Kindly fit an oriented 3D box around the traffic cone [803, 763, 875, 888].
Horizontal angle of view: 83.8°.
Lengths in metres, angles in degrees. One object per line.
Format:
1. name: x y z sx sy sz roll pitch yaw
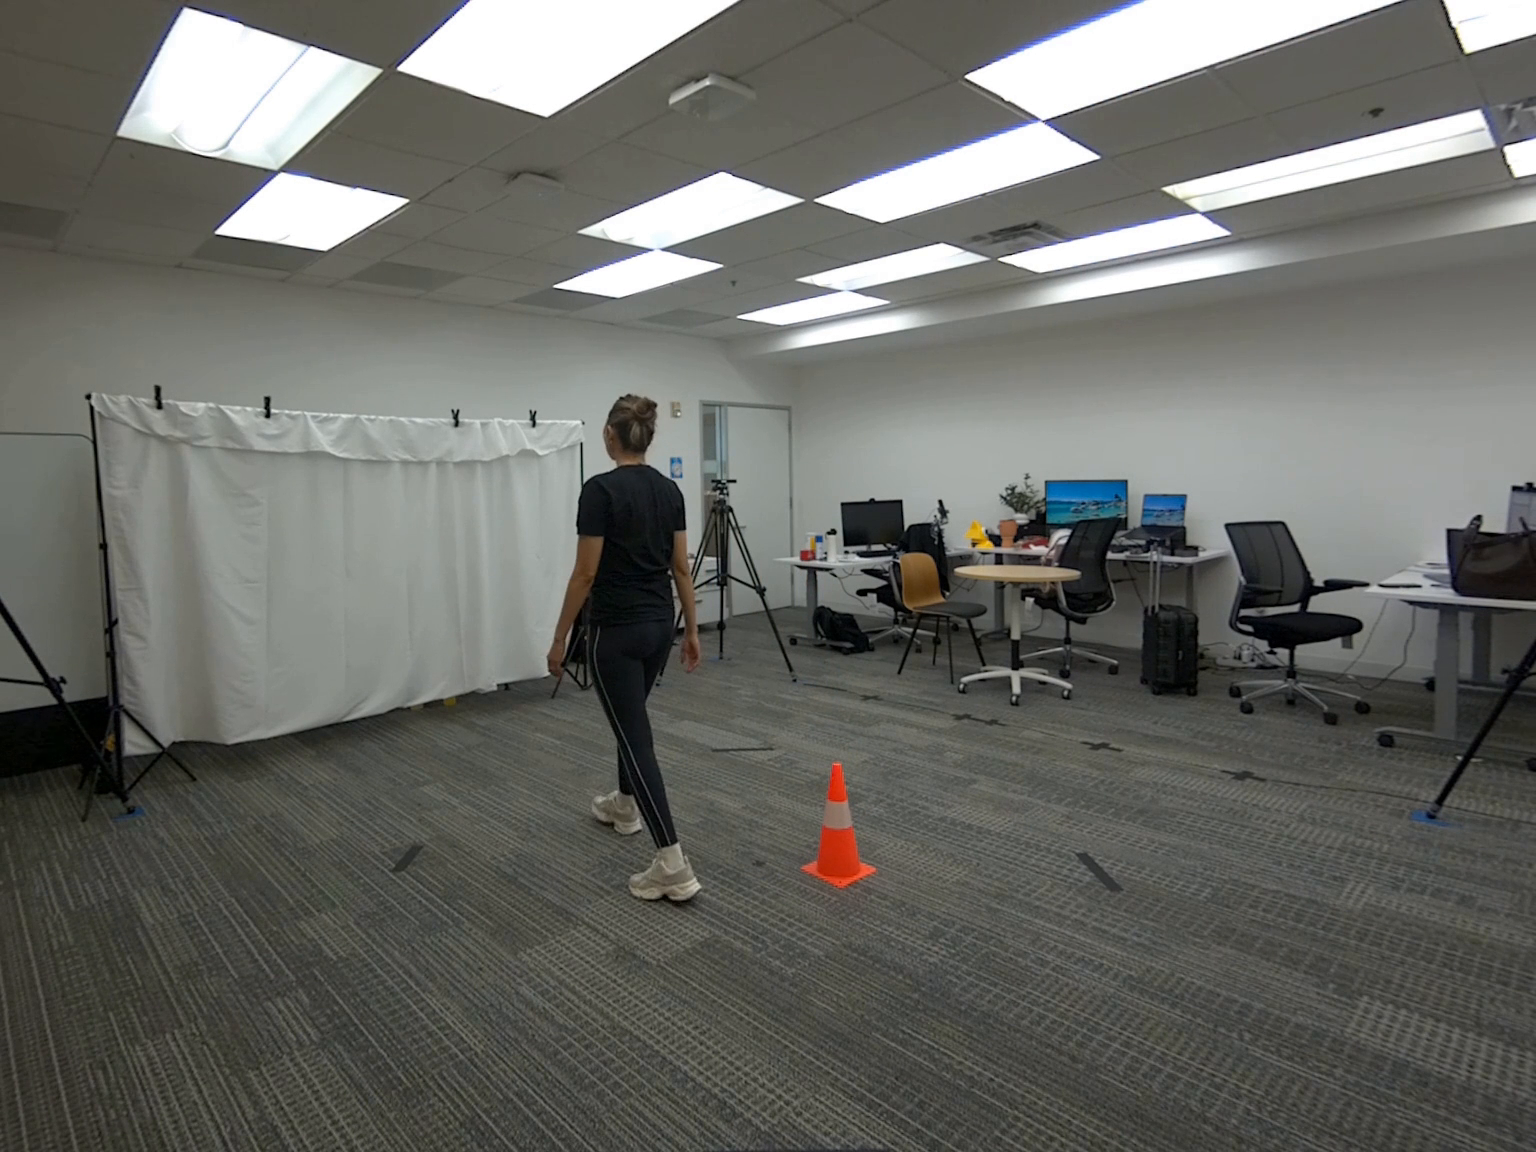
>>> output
1. traffic cone: 0.255 0.866 3.041 0.200 0.382 0.209 -4 4 -34
